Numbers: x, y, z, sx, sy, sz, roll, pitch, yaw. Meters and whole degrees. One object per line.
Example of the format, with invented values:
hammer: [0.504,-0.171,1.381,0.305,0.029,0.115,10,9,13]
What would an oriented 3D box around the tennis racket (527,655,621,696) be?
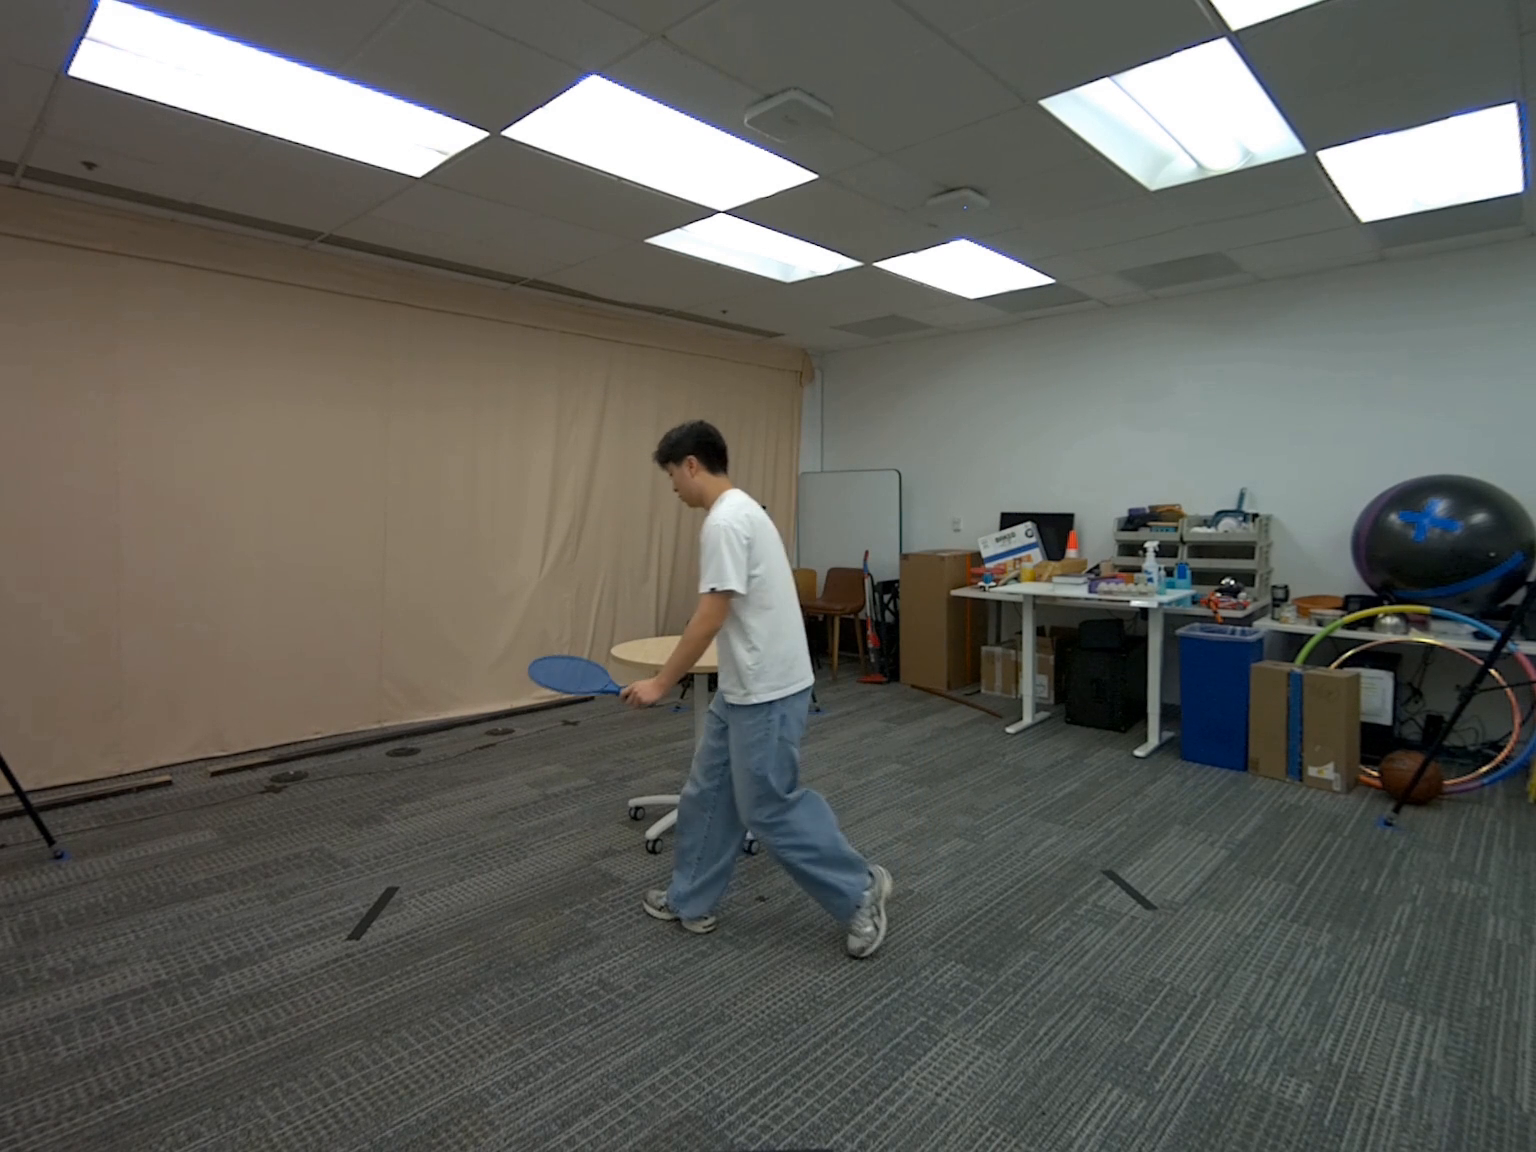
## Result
tennis racket: [-0.514,0.339,2.592,0.442,0.031,0.211,15,23,17]
